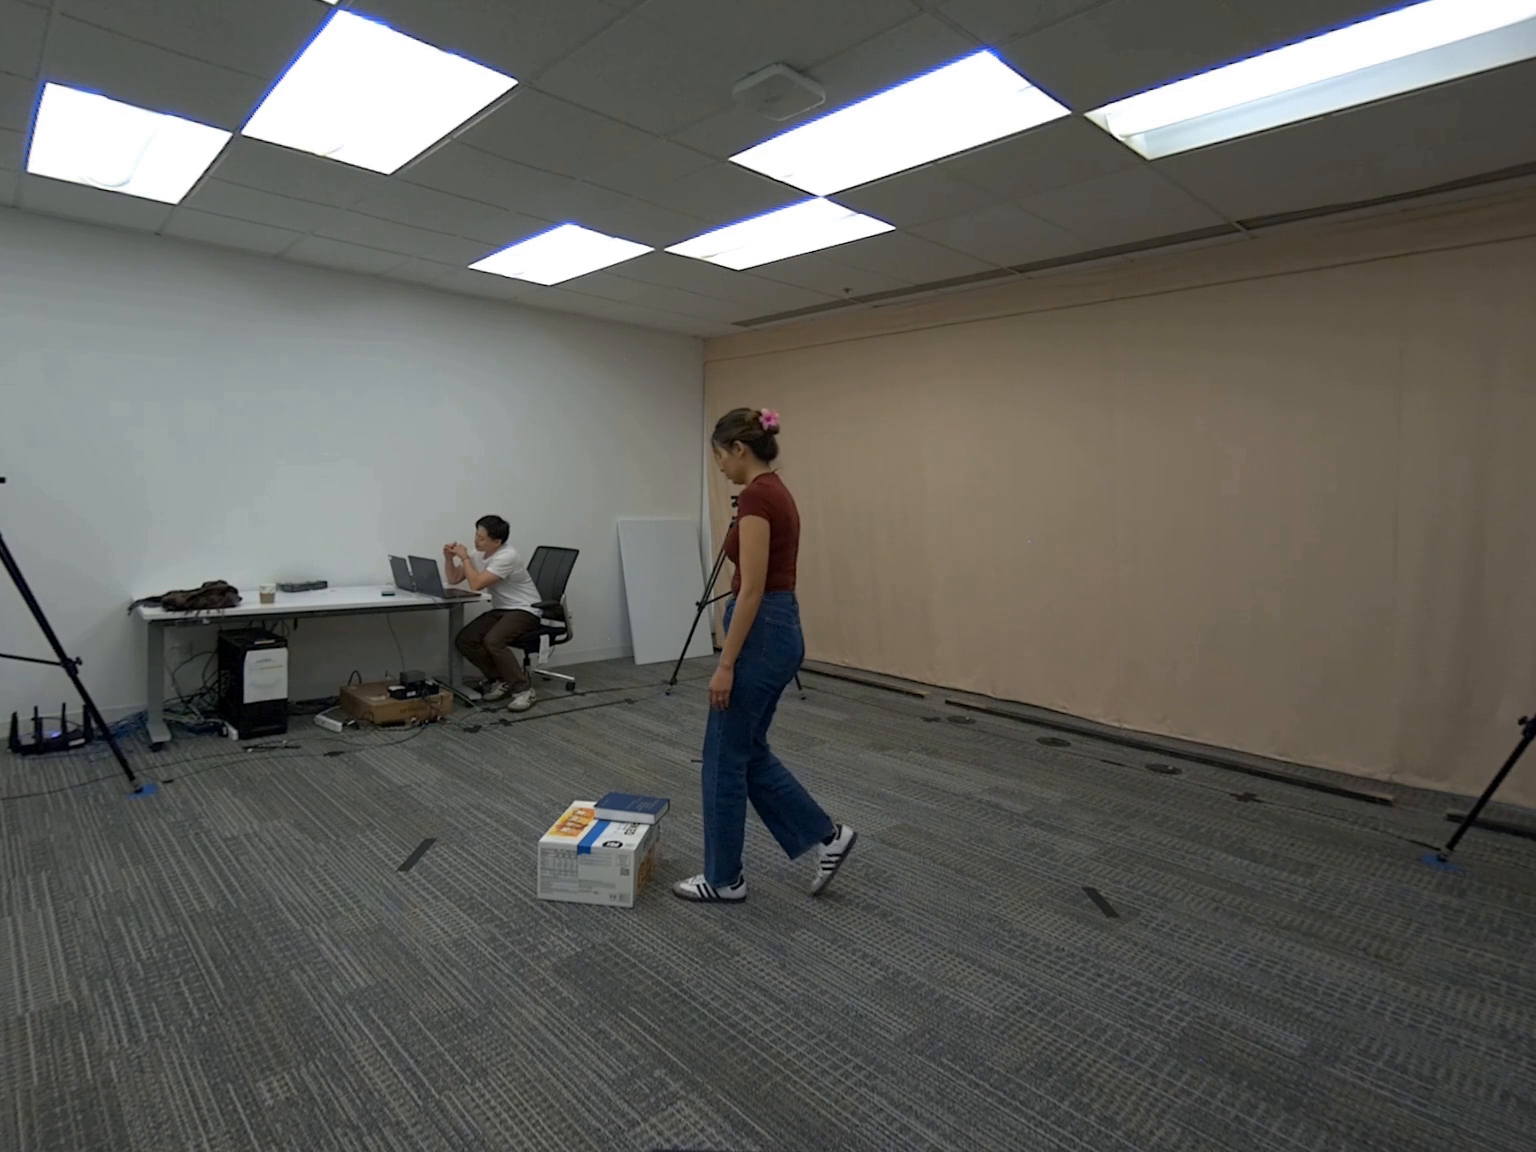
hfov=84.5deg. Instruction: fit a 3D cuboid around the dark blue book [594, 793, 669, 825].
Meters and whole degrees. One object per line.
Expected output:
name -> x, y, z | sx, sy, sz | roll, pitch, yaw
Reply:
dark blue book -> -0.509, 0.857, 3.146 | 0.248, 0.045, 0.162 | 3, 7, 15
